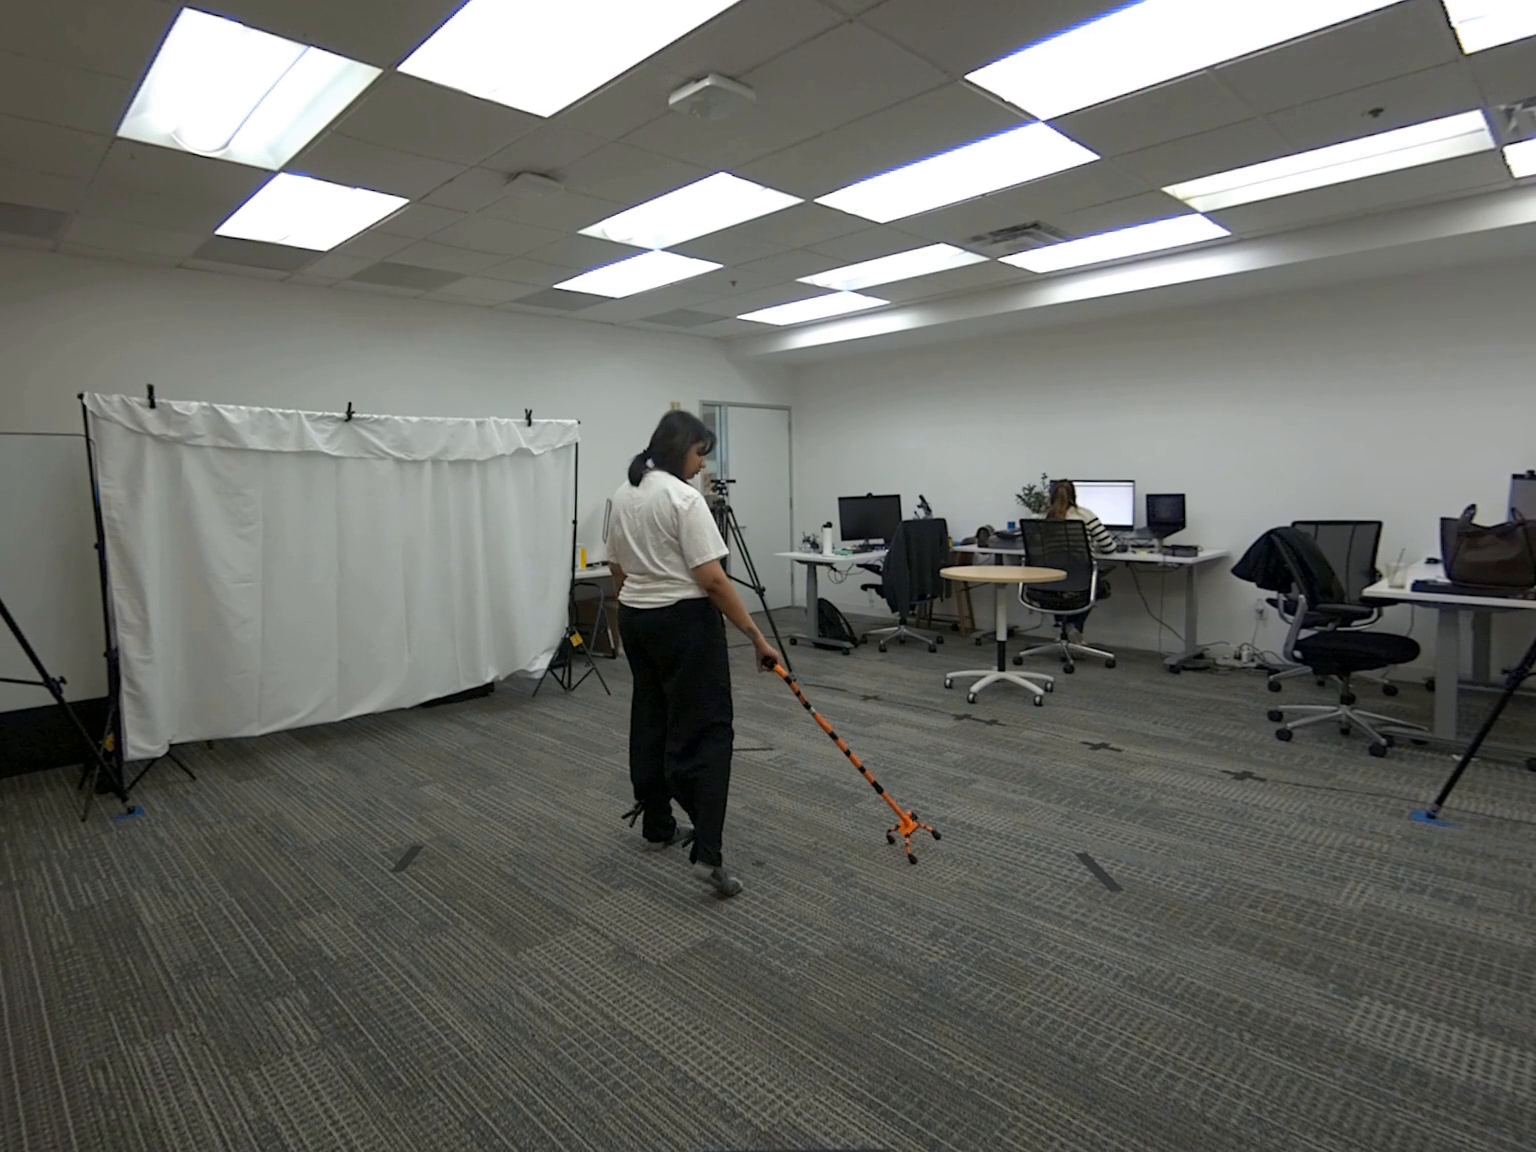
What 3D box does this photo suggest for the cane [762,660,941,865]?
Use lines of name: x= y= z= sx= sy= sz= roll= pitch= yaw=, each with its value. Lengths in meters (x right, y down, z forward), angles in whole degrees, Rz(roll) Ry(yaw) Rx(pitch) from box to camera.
cane: x=0.268 y=0.638 z=3.096 sx=0.151 sy=0.894 sz=0.210 roll=-42 pitch=12 yaw=-9
